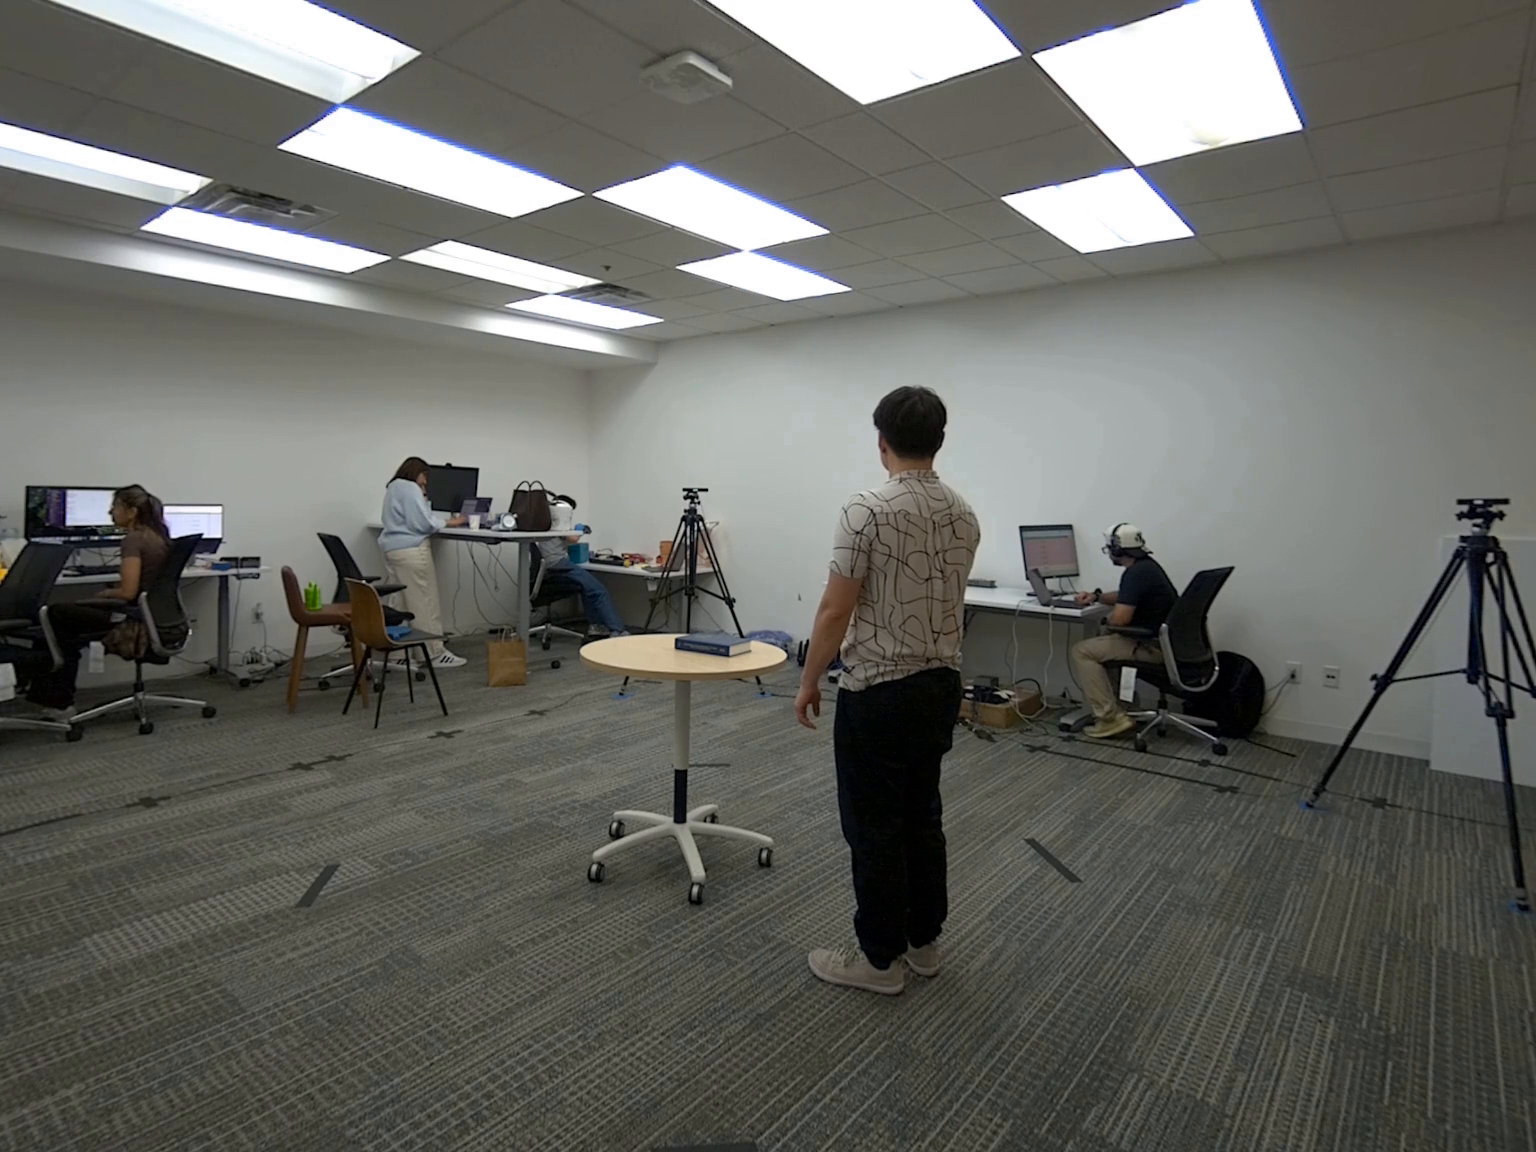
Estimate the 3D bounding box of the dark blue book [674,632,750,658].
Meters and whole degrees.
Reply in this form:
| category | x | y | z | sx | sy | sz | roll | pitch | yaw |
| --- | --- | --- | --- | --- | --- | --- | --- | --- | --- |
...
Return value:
| category | x | y | z | sx | sy | sz | roll | pitch | yaw |
| --- | --- | --- | --- | --- | --- | --- | --- | --- | --- |
| dark blue book | -0.210 | 0.254 | 3.204 | 0.252 | 0.045 | 0.159 | 5 | 6 | 31 |
